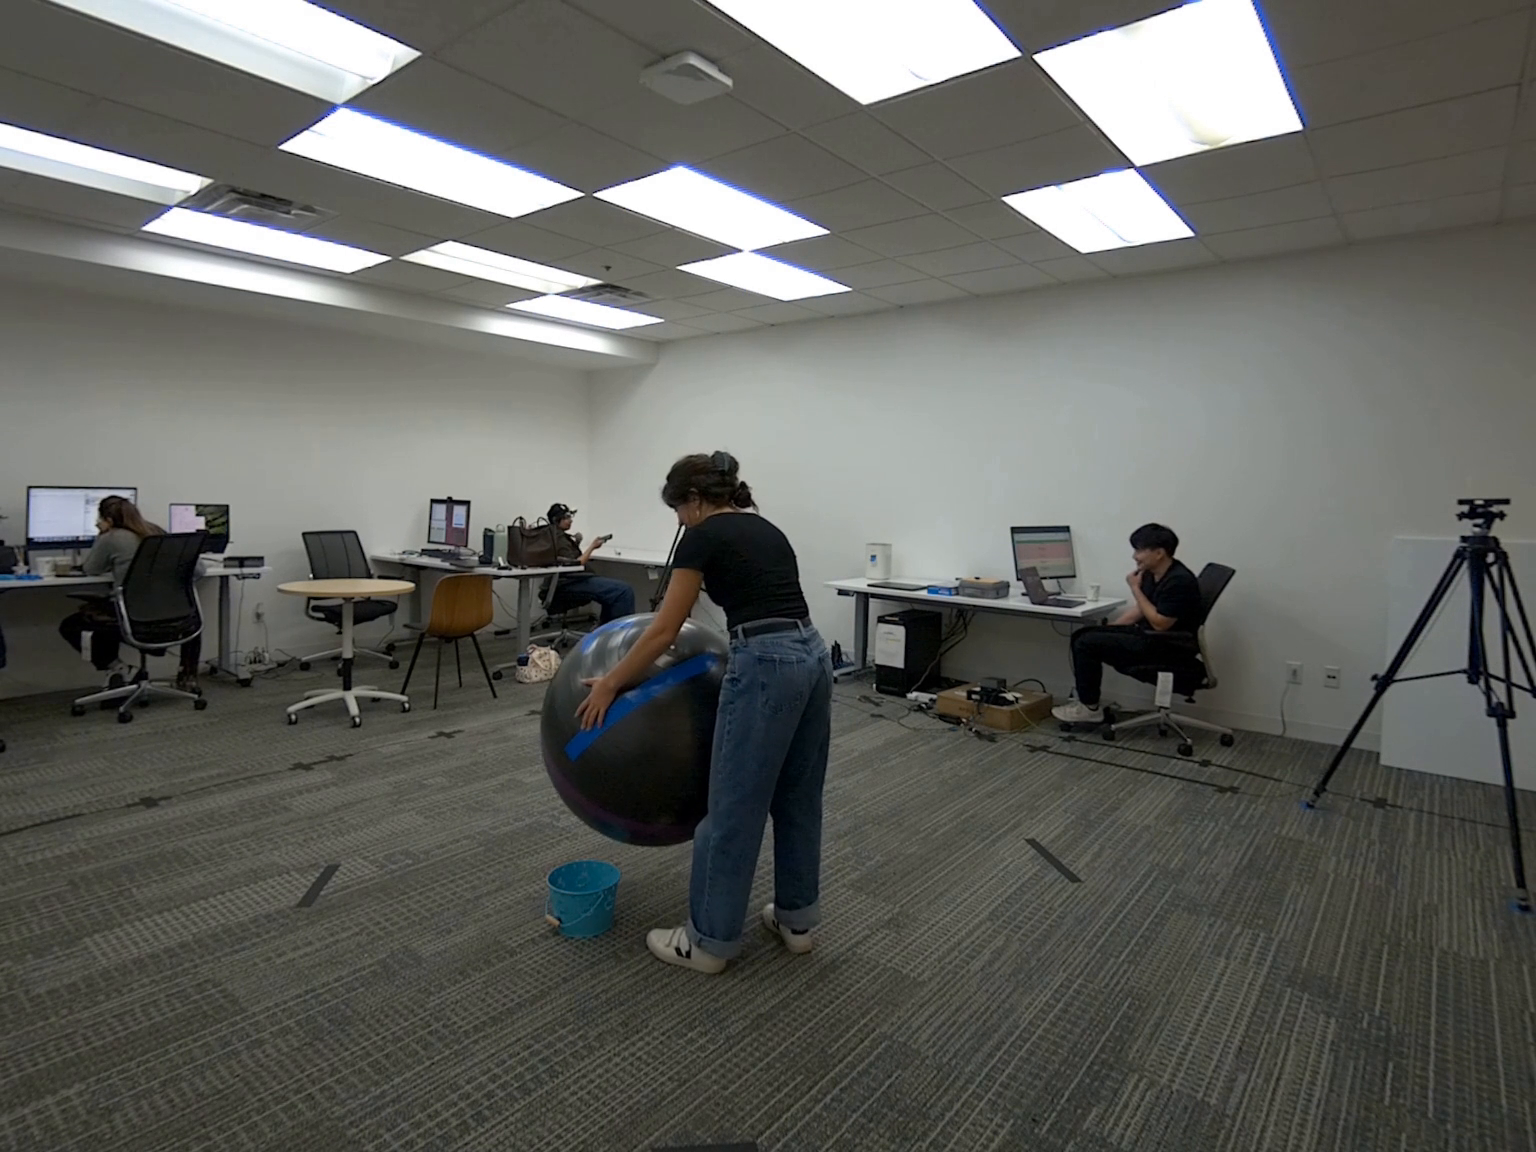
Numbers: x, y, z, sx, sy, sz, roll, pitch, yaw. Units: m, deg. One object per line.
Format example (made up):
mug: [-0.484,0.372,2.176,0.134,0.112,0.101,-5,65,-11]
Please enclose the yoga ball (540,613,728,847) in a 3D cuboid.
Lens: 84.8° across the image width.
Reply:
yoga ball: [-0.391,0.512,2.856,0.757,0.755,0.762,1,4,-2]
